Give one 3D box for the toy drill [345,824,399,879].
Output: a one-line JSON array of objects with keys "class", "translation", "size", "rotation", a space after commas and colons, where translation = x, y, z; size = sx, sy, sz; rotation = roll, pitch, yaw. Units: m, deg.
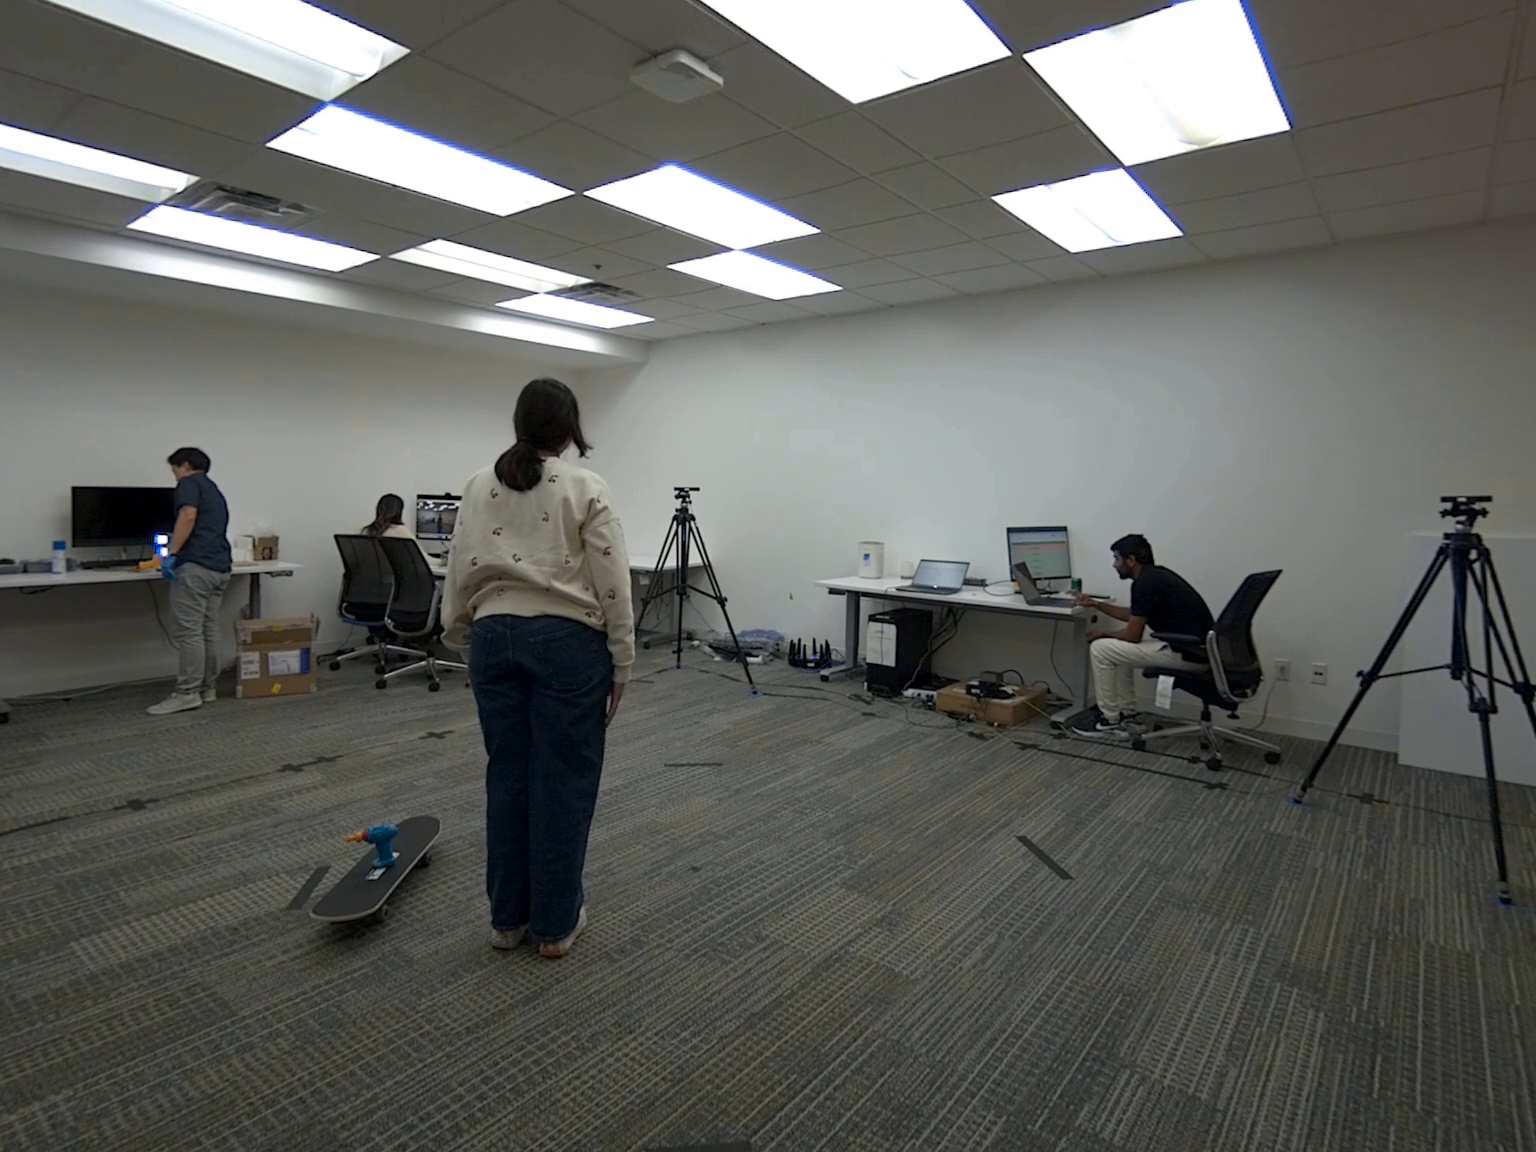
[{"class": "toy drill", "translation": [-1.367, 0.915, 2.889], "size": [0.166, 0.146, 0.062], "rotation": [-3, 2, -20]}]
